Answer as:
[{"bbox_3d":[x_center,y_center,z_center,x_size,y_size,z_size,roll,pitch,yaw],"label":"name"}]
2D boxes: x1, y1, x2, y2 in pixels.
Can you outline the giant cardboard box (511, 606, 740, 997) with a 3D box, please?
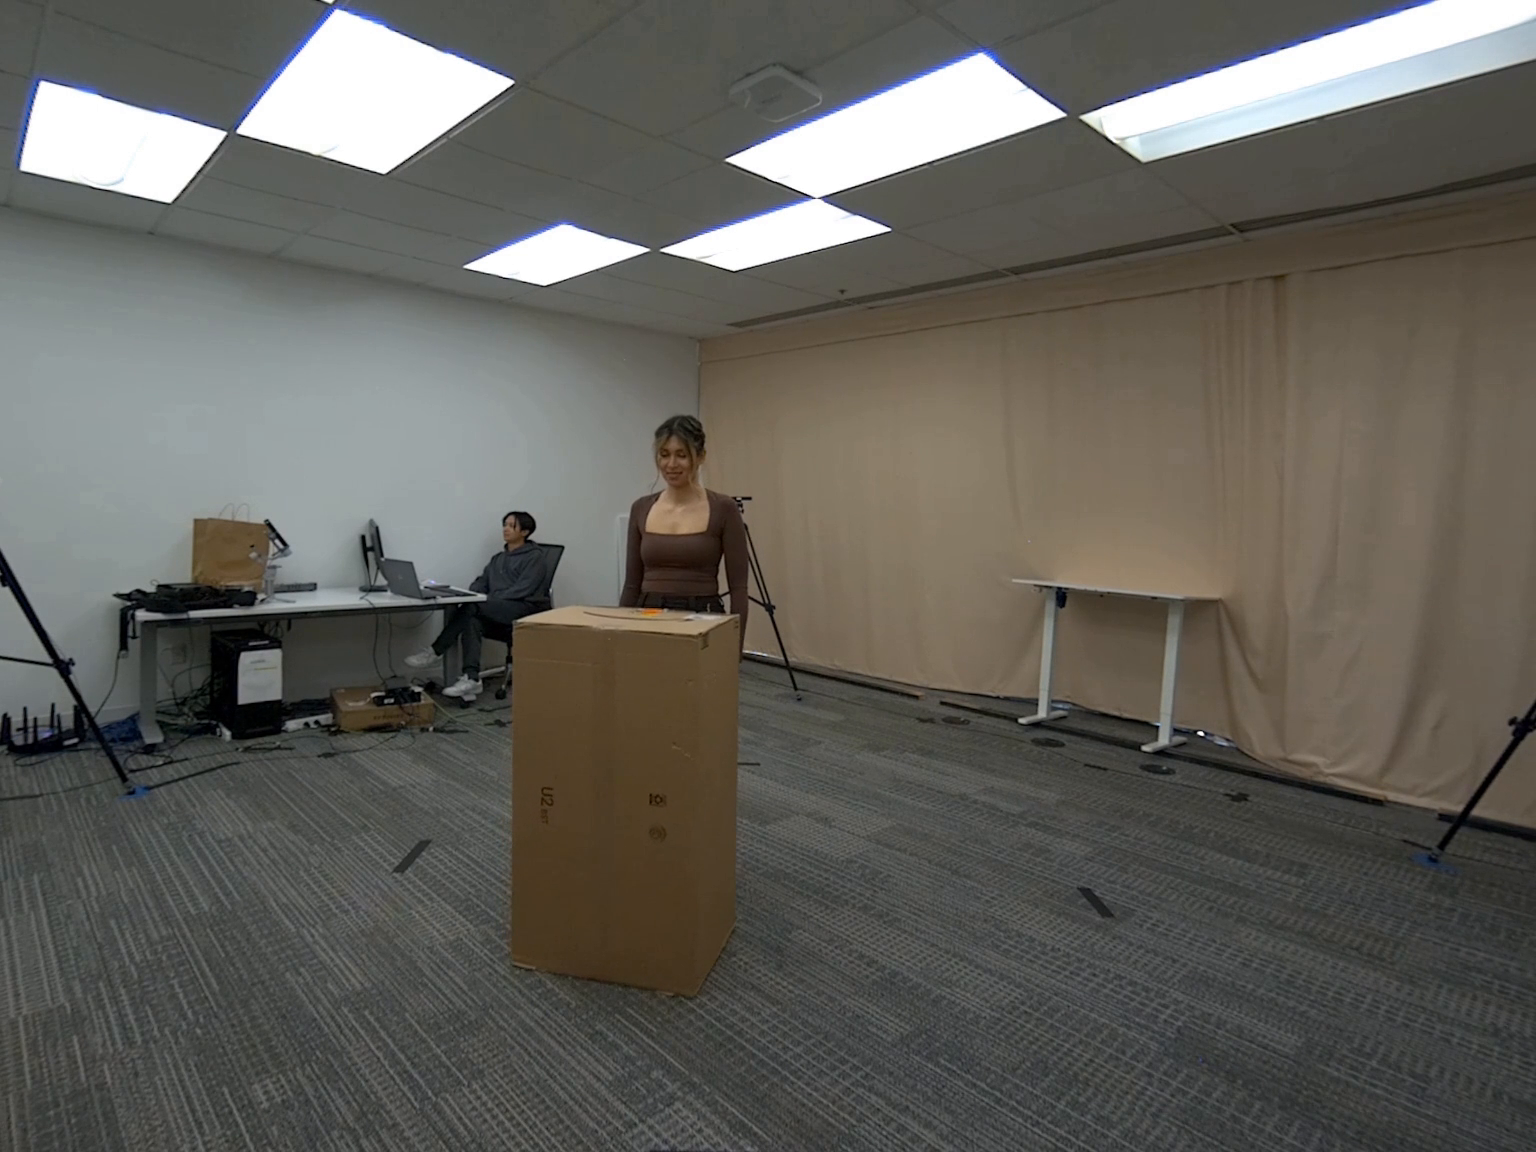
[{"bbox_3d":[-0.425,0.637,2.577,0.591,1.025,0.442,2,3,15],"label":"giant cardboard box"}]
